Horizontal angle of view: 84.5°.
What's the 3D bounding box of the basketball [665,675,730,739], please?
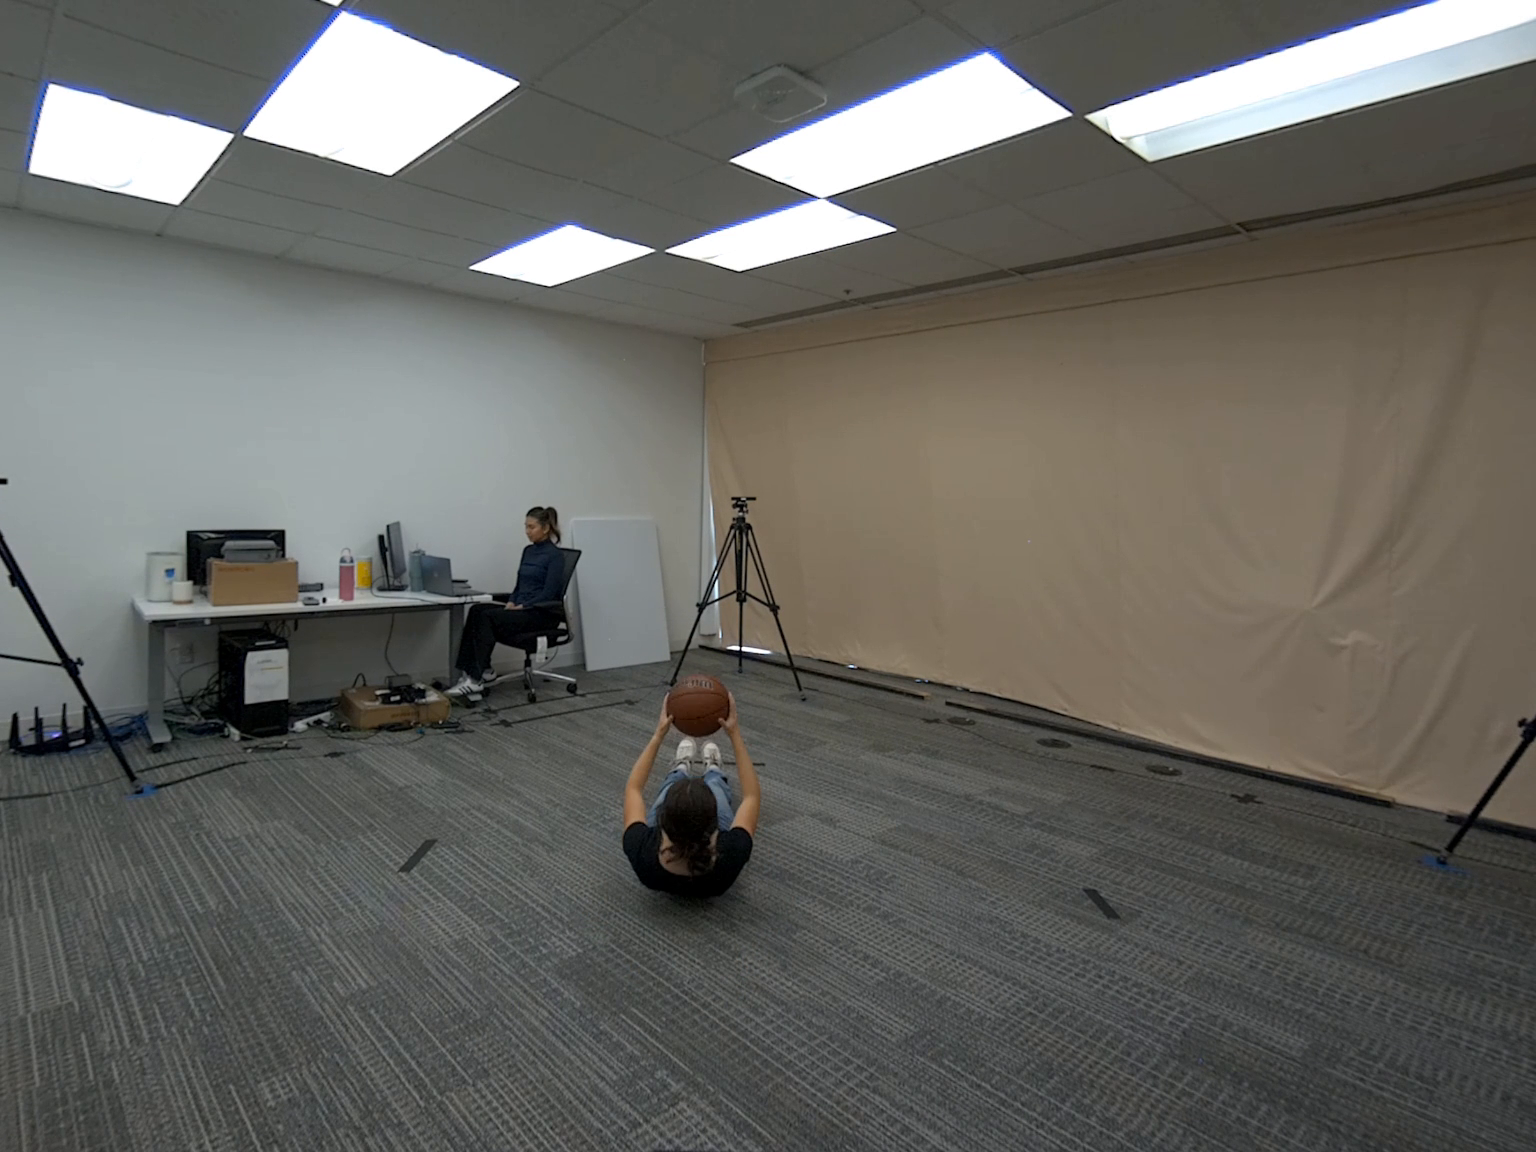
[{"bbox_3d":[-0.263,0.483,3.146,0.236,0.235,0.237,1,4,-1],"label":"basketball"}]
